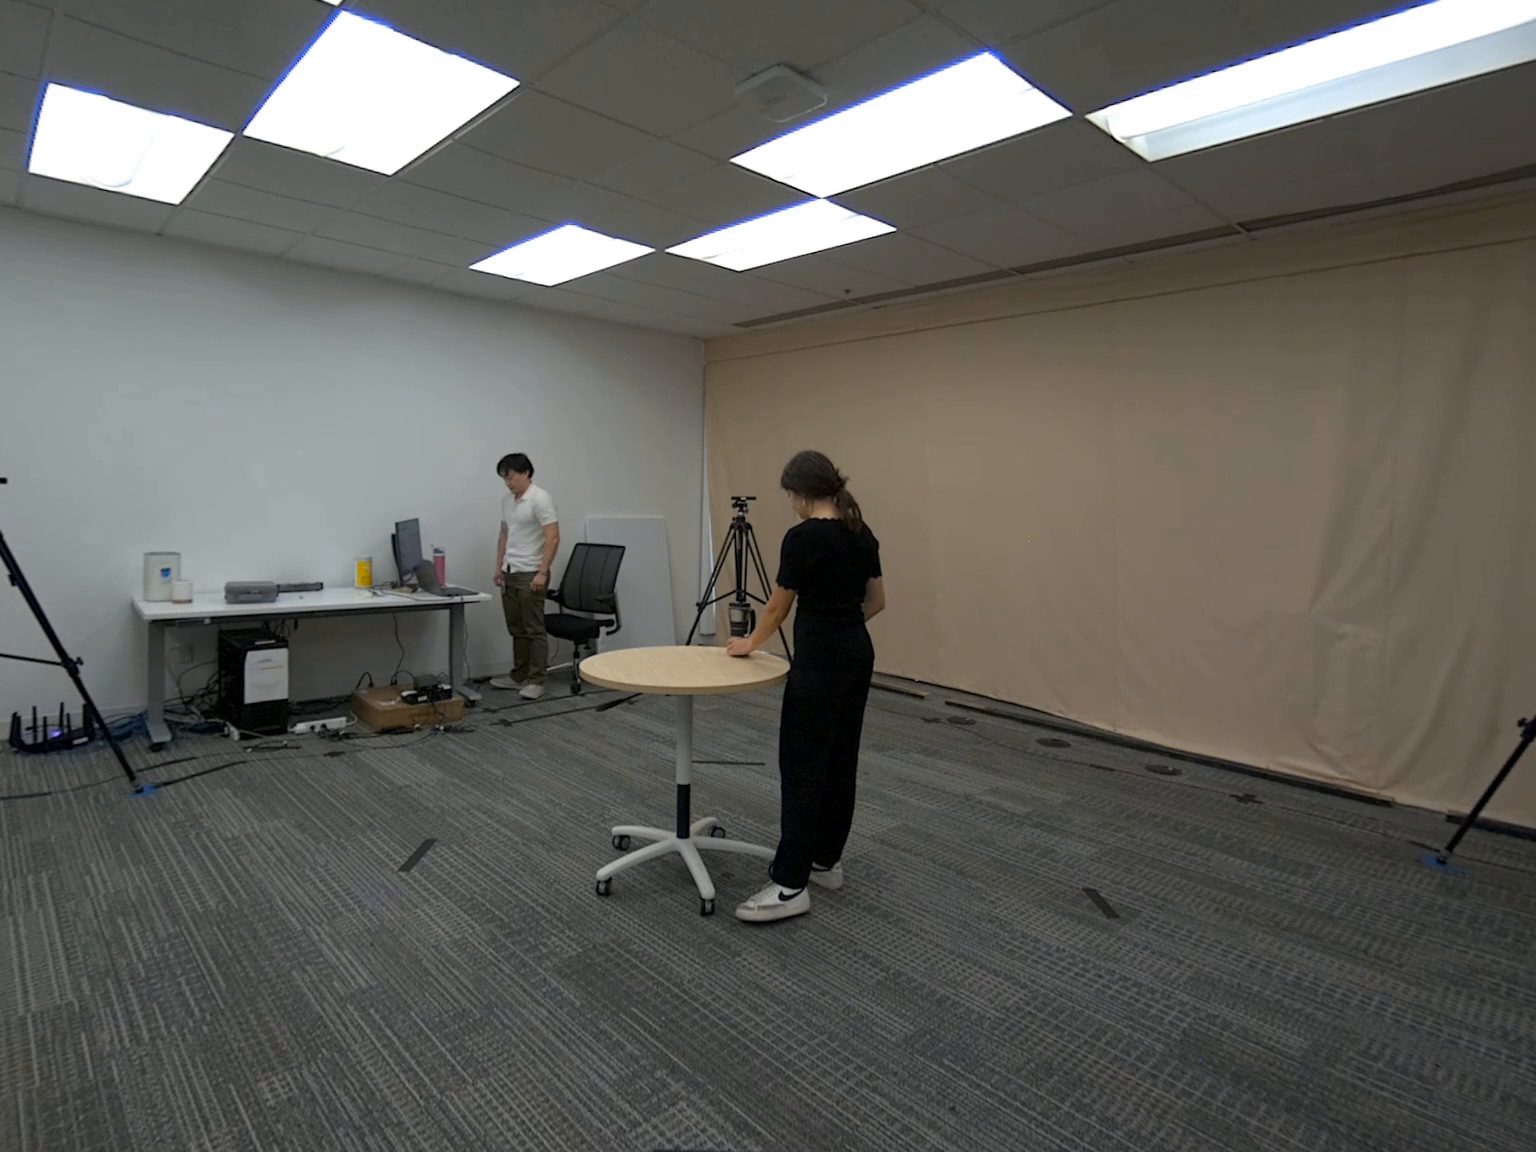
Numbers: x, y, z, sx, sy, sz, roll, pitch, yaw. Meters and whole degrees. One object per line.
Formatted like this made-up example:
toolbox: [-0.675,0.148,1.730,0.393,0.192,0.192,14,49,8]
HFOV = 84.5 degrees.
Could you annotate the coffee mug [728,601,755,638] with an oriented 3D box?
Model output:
coffee mug: [-0.101,0.209,3.259,0.086,0.203,0.124,0,1,-21]
